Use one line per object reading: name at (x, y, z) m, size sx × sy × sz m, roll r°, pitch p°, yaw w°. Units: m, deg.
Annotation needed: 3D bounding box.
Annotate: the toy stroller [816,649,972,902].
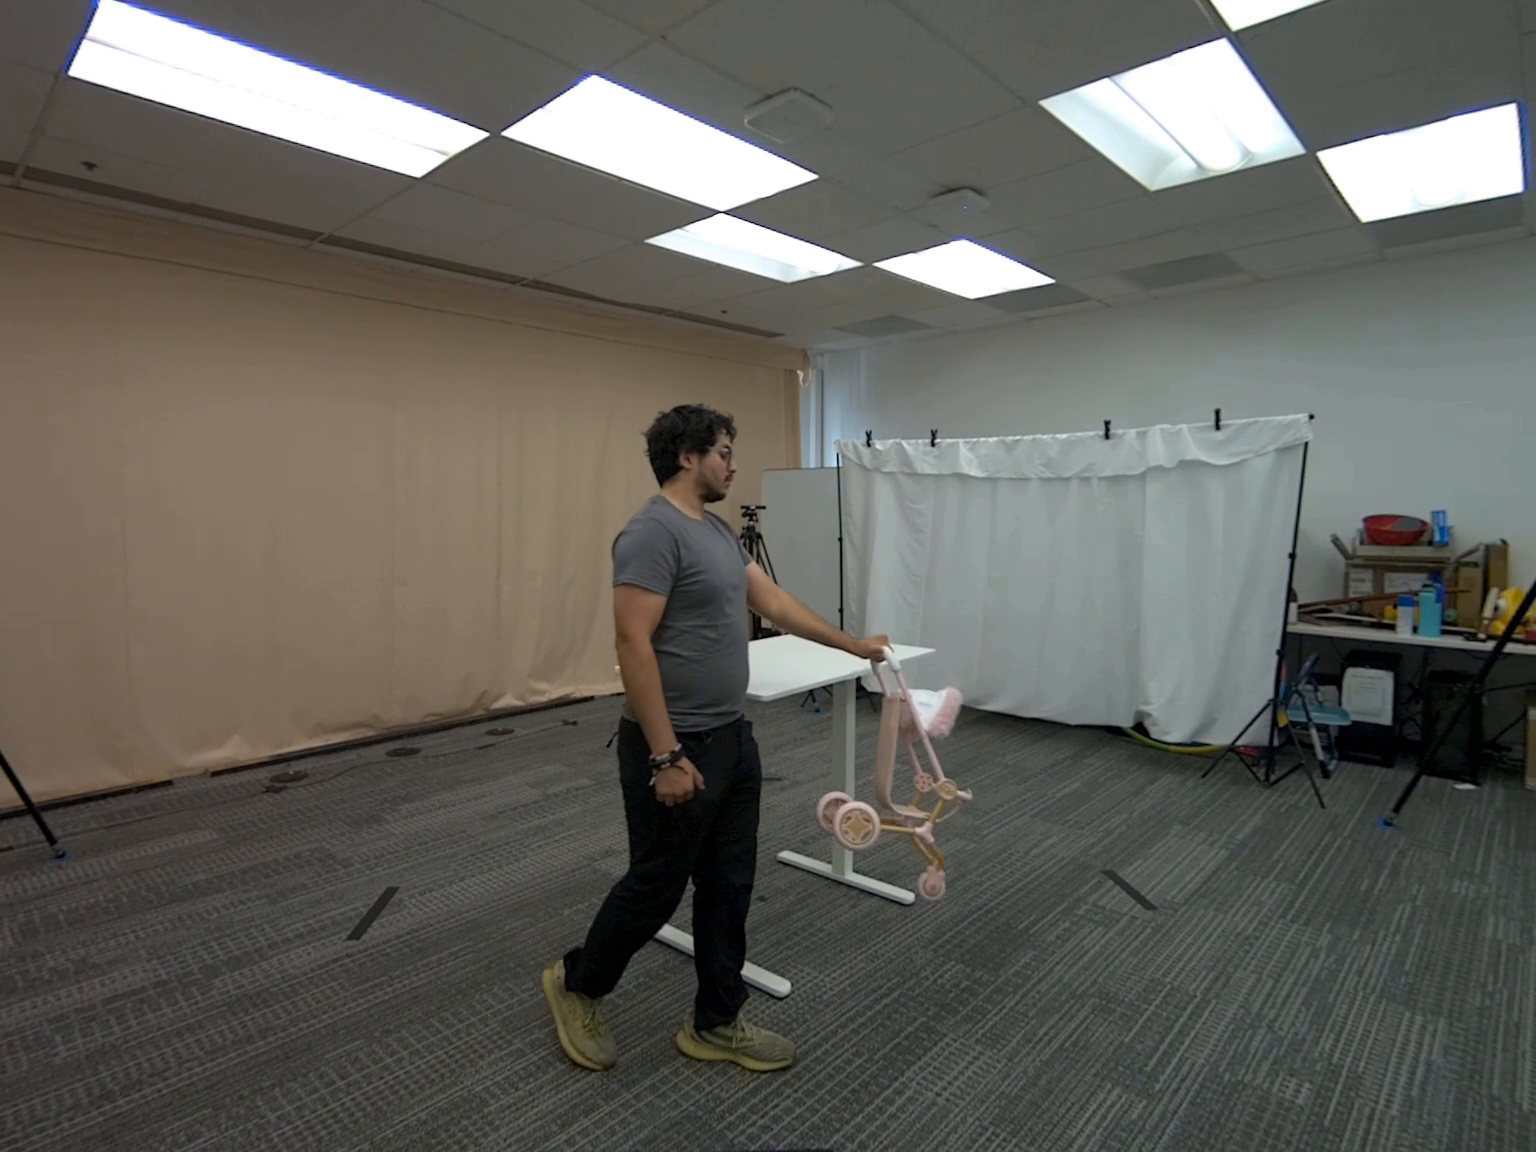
toy stroller at (0.358, 0.491, 2.069) m, size 0.343 × 0.536 × 0.279 m, roll 19°, pitch -11°, yaw 2°
